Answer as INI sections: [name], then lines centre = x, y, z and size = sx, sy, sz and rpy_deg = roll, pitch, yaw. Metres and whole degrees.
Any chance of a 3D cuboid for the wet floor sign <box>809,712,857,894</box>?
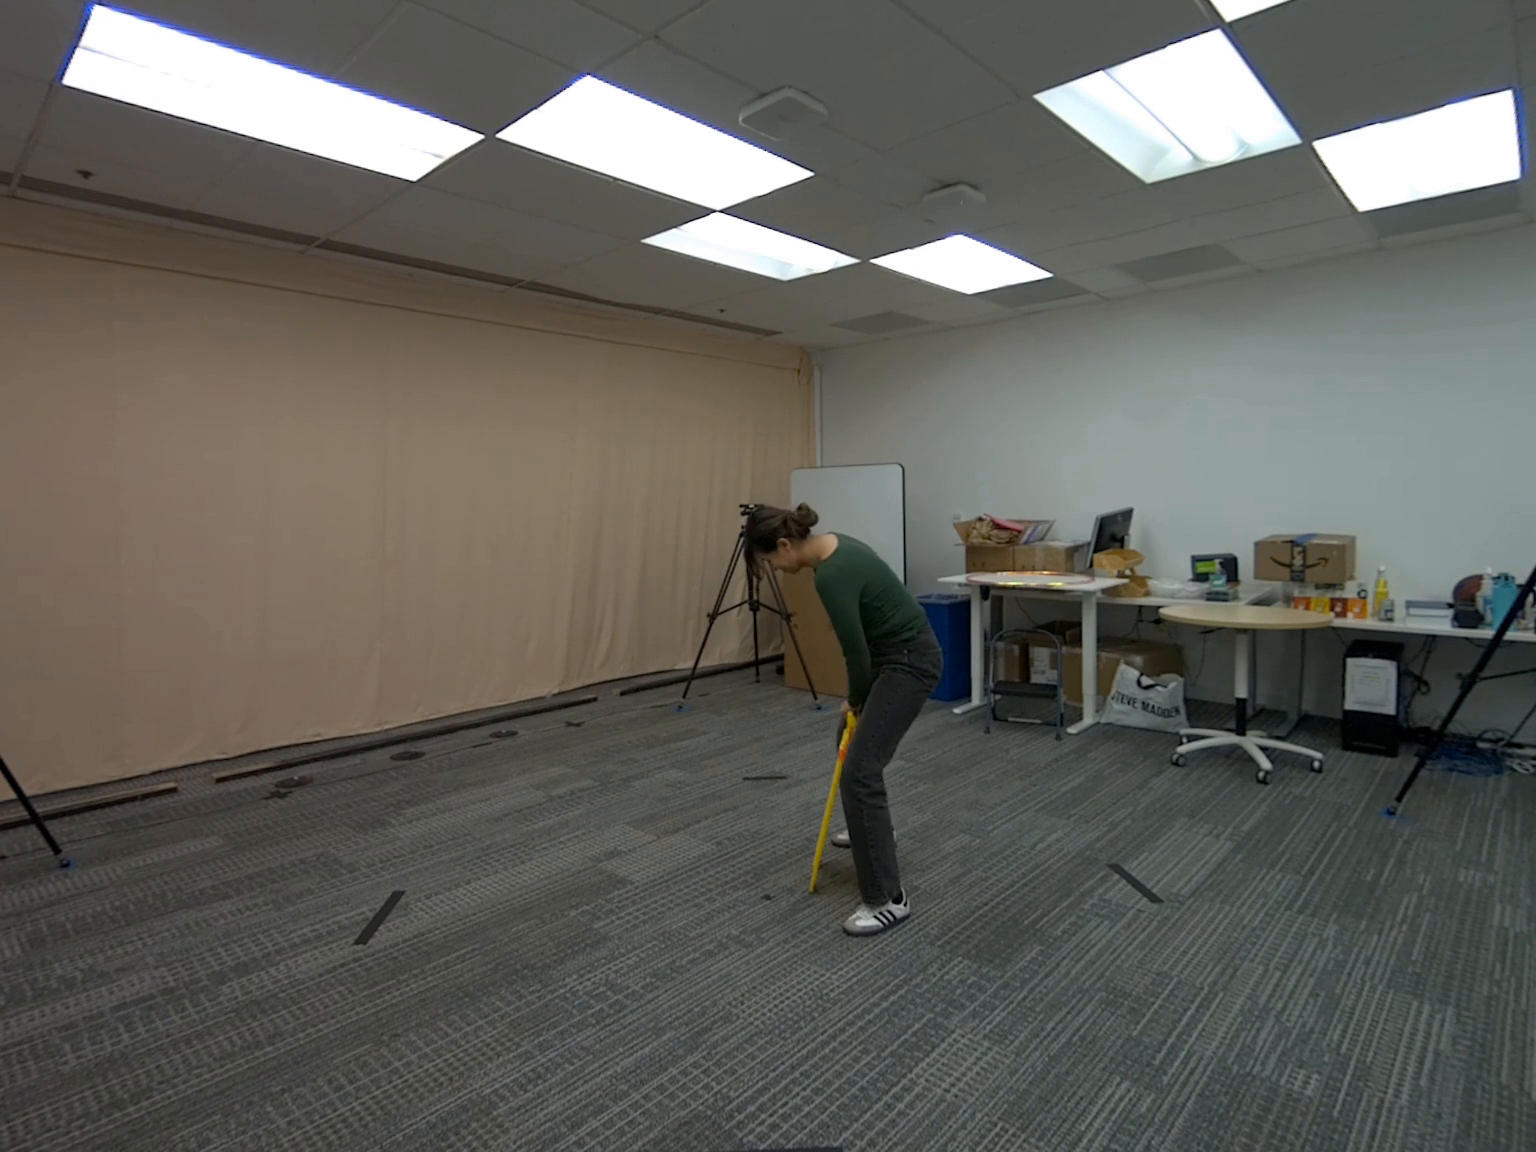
[wet floor sign]
centre = 0.309, 0.803, 3.093
size = 0.293, 0.645, 0.280
rpy_deg = 0, 3, 9
